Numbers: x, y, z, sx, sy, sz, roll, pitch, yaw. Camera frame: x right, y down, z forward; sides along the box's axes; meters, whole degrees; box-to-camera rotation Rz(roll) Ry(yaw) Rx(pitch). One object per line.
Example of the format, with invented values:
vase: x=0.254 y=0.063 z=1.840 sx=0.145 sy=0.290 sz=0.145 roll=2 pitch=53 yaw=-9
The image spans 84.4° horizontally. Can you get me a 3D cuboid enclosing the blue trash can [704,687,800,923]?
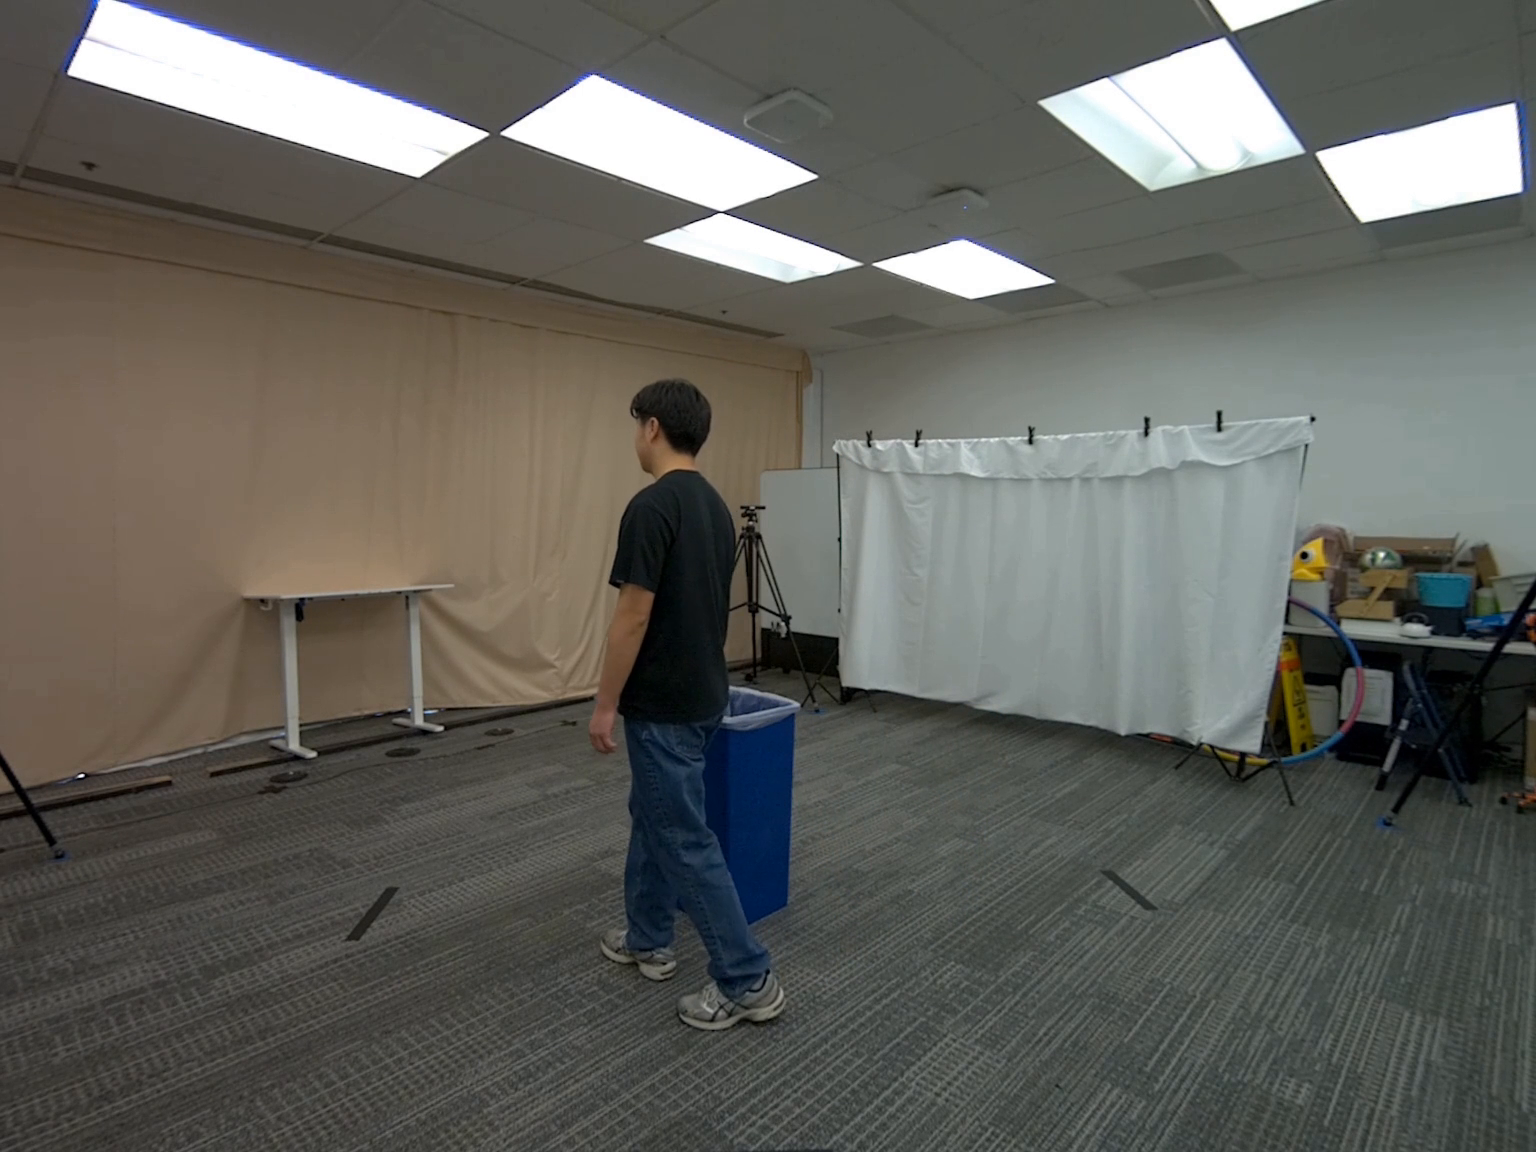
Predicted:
blue trash can: x=-0.126 y=0.791 z=2.920 sx=0.386 sy=0.712 sz=0.366 roll=3 pitch=4 yaw=45
